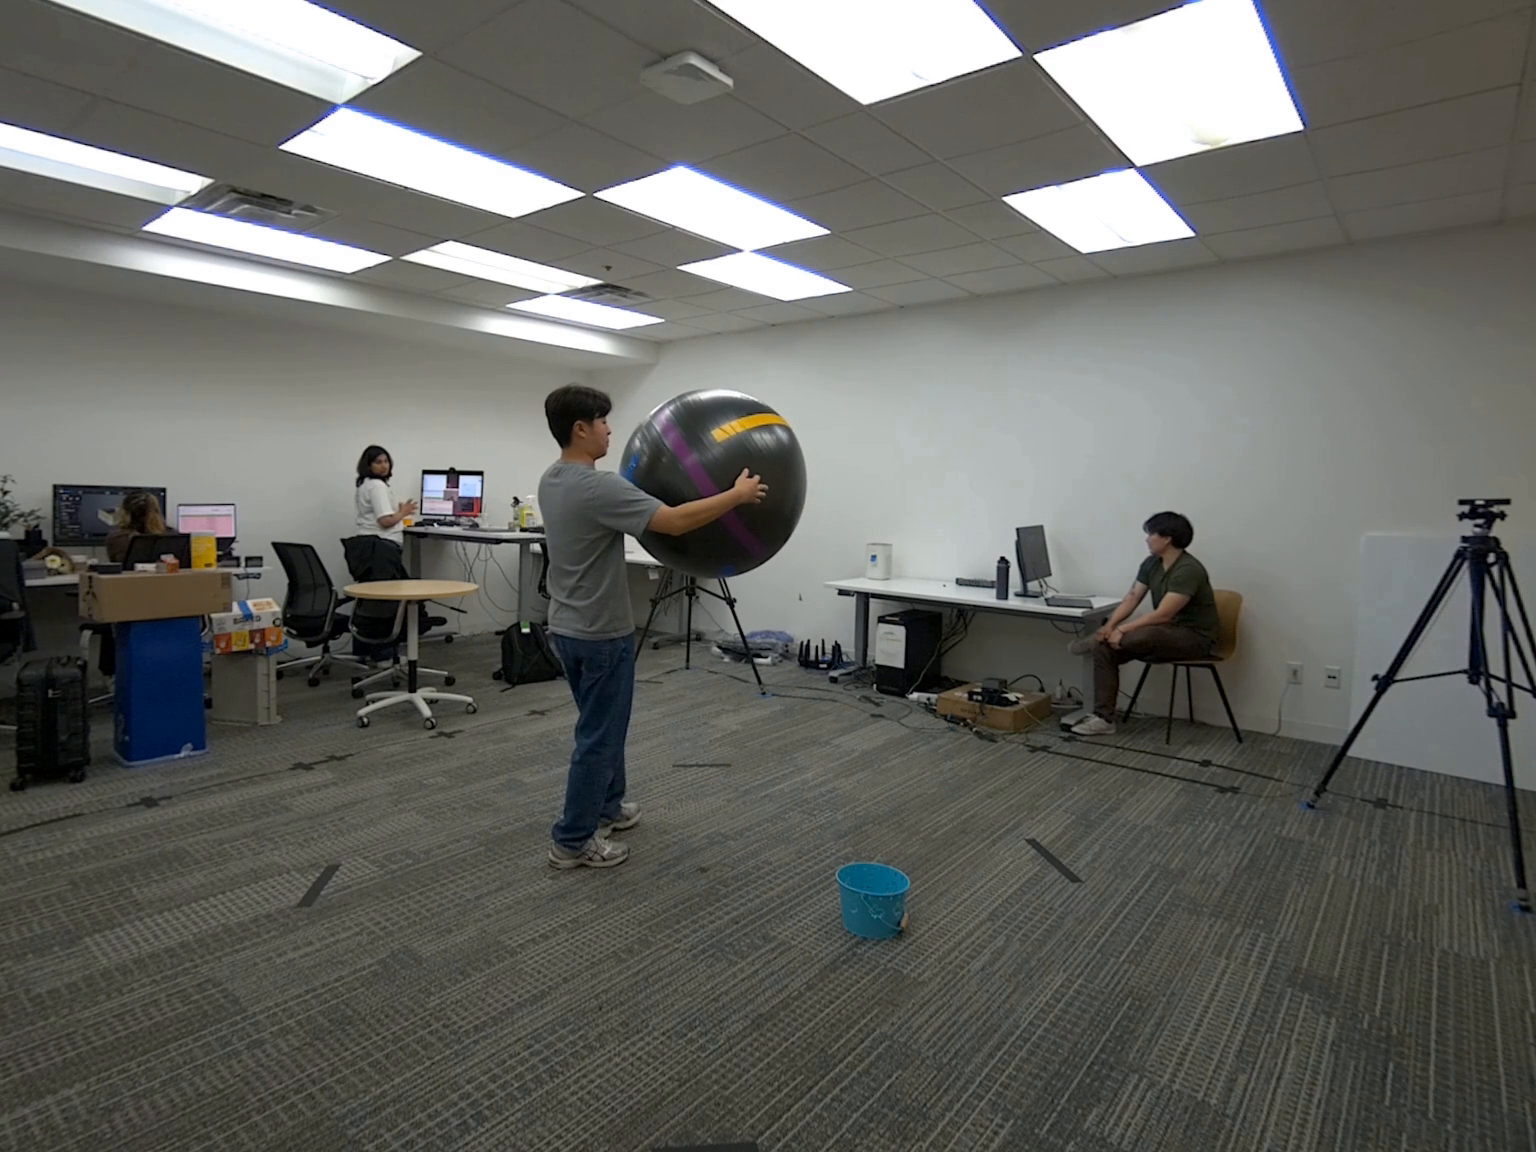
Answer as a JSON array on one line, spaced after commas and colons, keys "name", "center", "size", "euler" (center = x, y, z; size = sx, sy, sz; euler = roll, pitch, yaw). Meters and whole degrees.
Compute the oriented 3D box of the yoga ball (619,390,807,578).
[{"name": "yoga ball", "center": [-0.236, -0.366, 3.428], "size": [0.757, 0.756, 0.761], "euler": [1, 4, -2]}]
